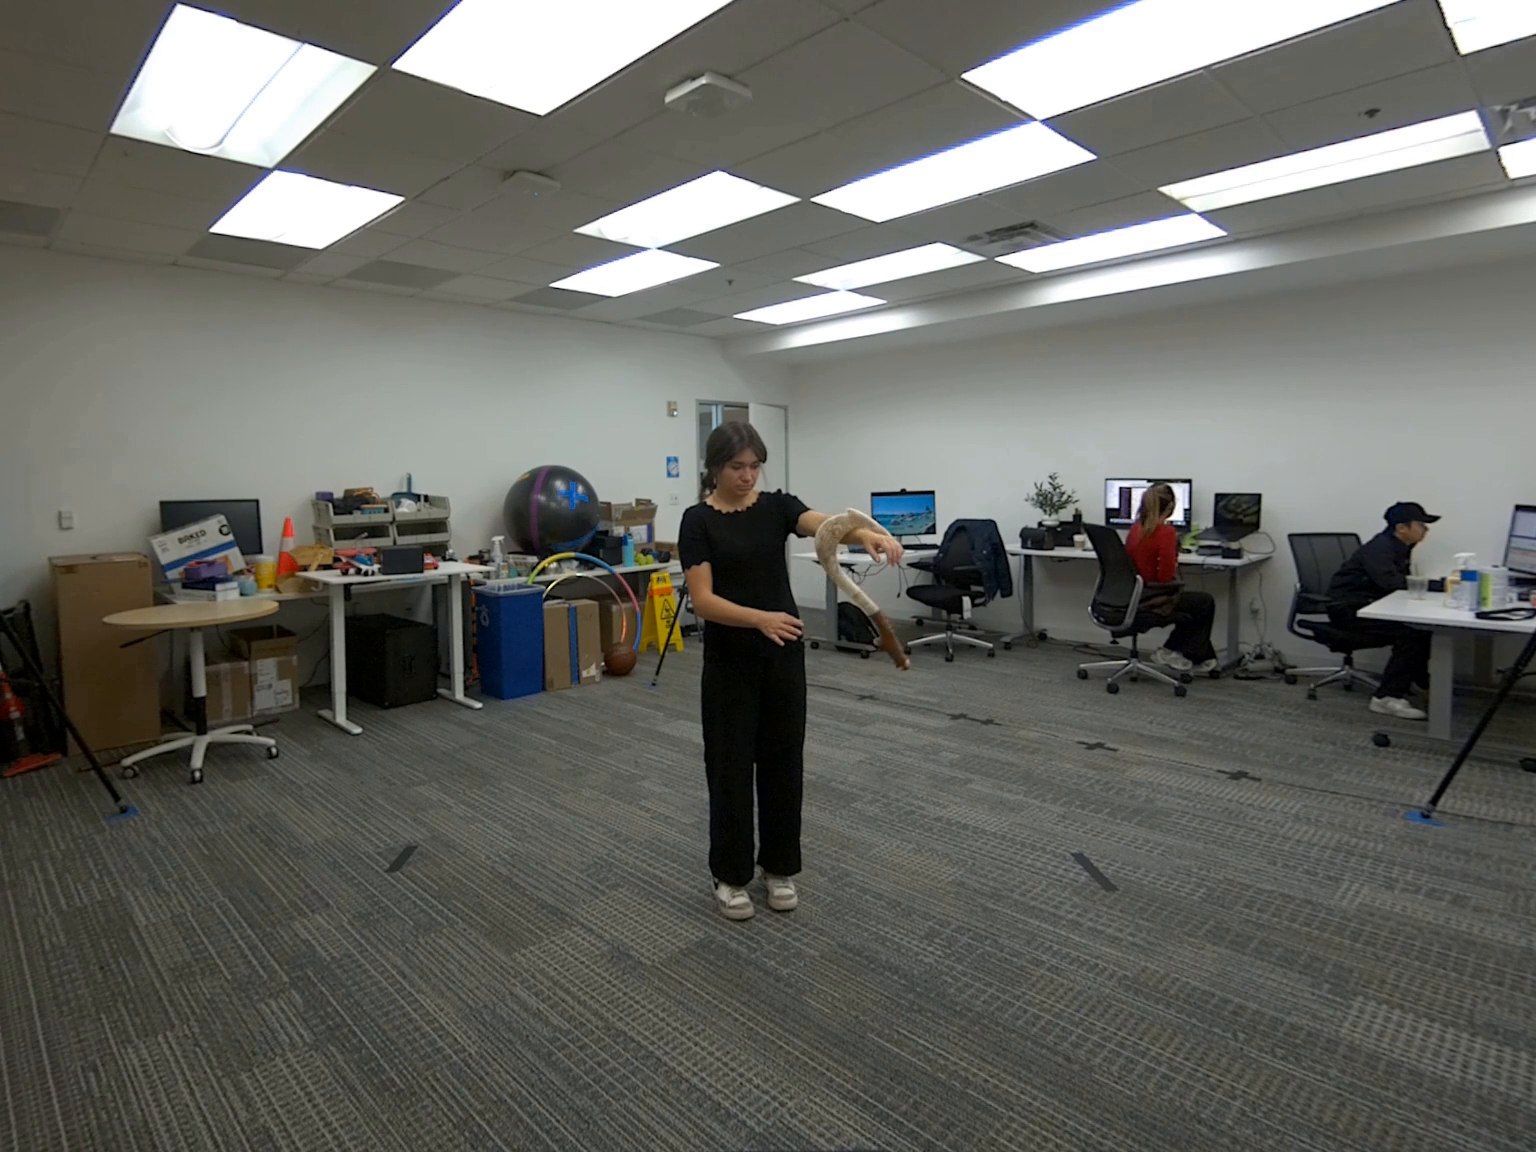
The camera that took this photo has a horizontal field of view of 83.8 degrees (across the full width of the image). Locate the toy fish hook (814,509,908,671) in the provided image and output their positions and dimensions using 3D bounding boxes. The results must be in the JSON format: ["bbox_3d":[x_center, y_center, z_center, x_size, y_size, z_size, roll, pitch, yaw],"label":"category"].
[{"bbox_3d":[0.319,0.037,2.504,0.227,0.504,0.048,-26,4,24],"label":"toy fish hook"}]
